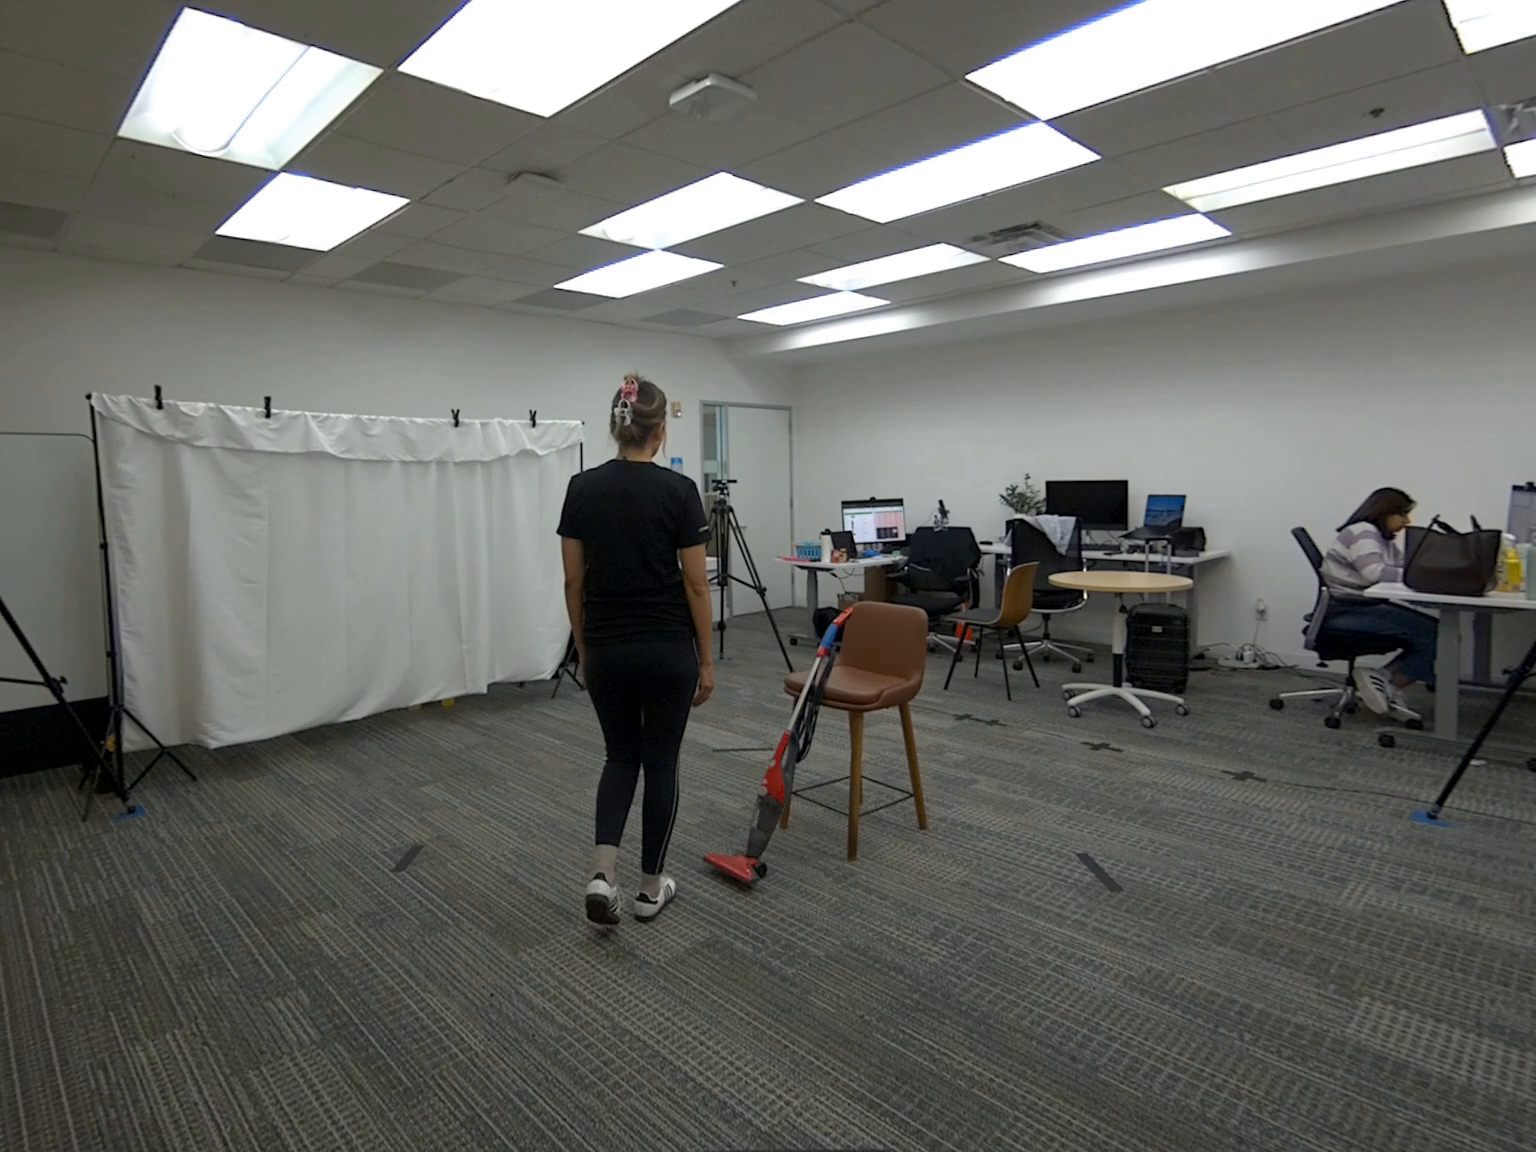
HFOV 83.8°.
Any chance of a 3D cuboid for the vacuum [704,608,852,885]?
[{"bbox_3d":[0.105,0.593,3.170,0.260,1.057,0.138,6,-26,44],"label":"vacuum"}]
